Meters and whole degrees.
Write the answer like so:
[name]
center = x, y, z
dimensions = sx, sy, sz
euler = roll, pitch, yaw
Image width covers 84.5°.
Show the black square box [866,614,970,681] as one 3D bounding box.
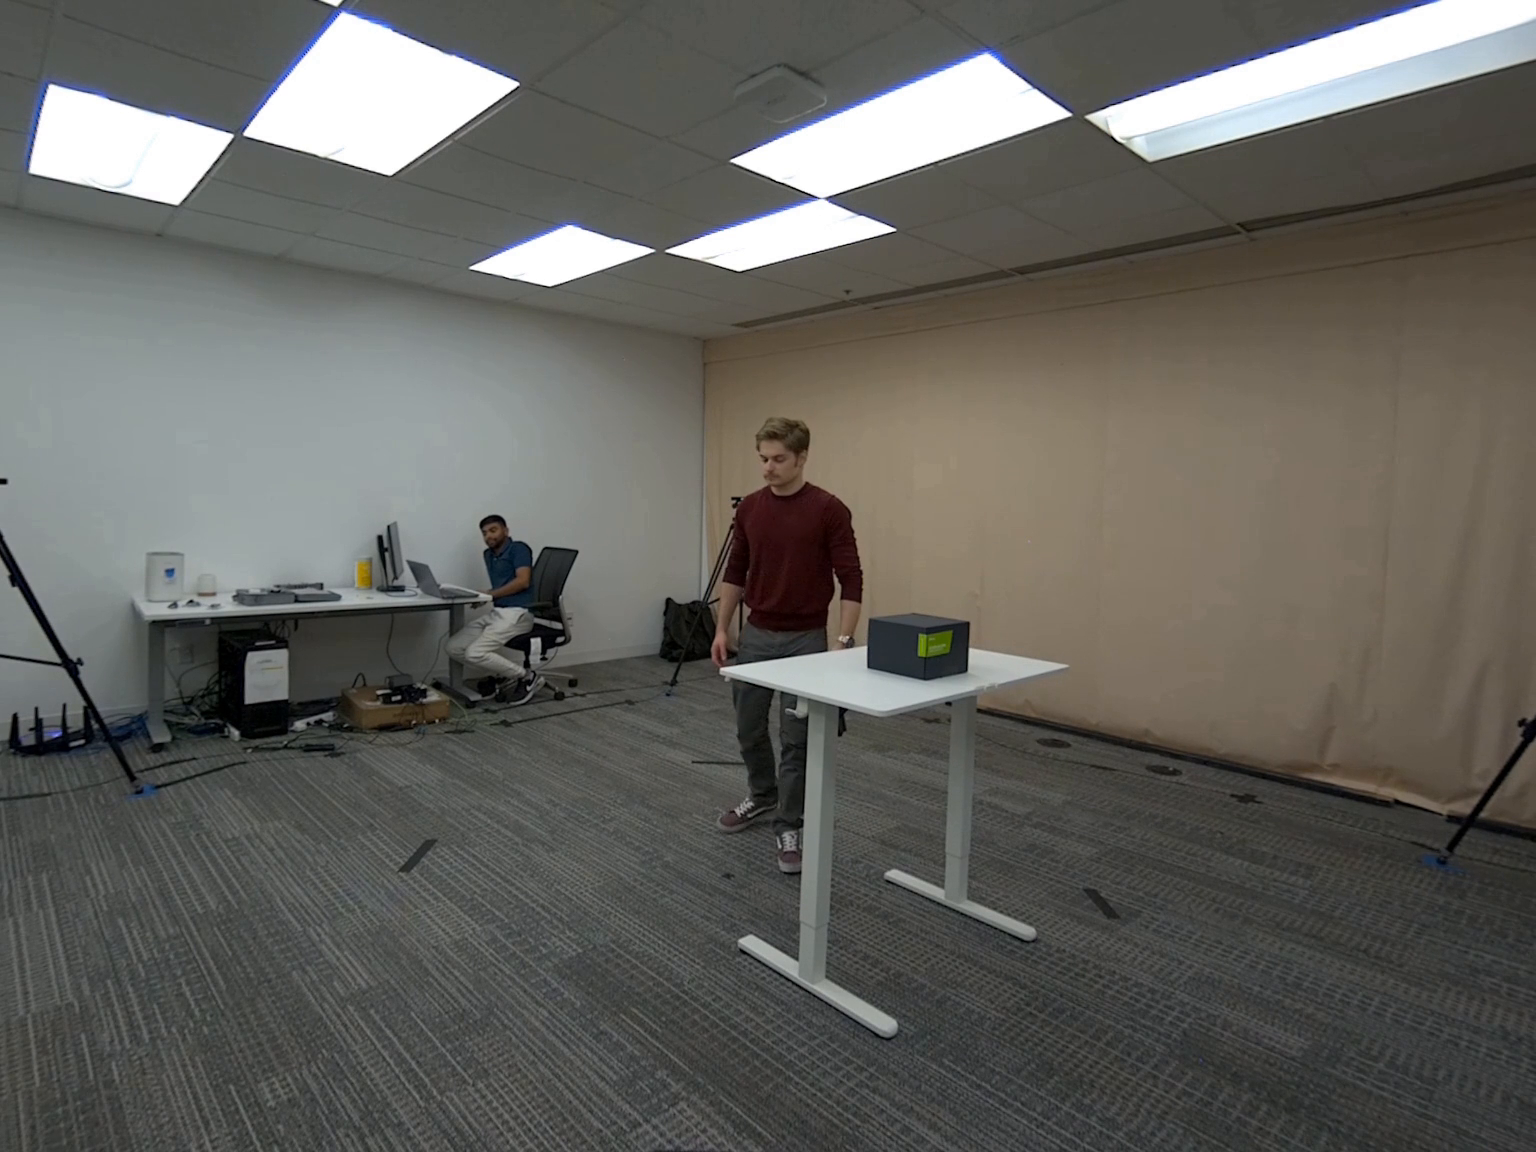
[black square box]
center = 0.447, 0.209, 2.560
dimensions = 0.223, 0.155, 0.223
euler = -2, 7, -44
